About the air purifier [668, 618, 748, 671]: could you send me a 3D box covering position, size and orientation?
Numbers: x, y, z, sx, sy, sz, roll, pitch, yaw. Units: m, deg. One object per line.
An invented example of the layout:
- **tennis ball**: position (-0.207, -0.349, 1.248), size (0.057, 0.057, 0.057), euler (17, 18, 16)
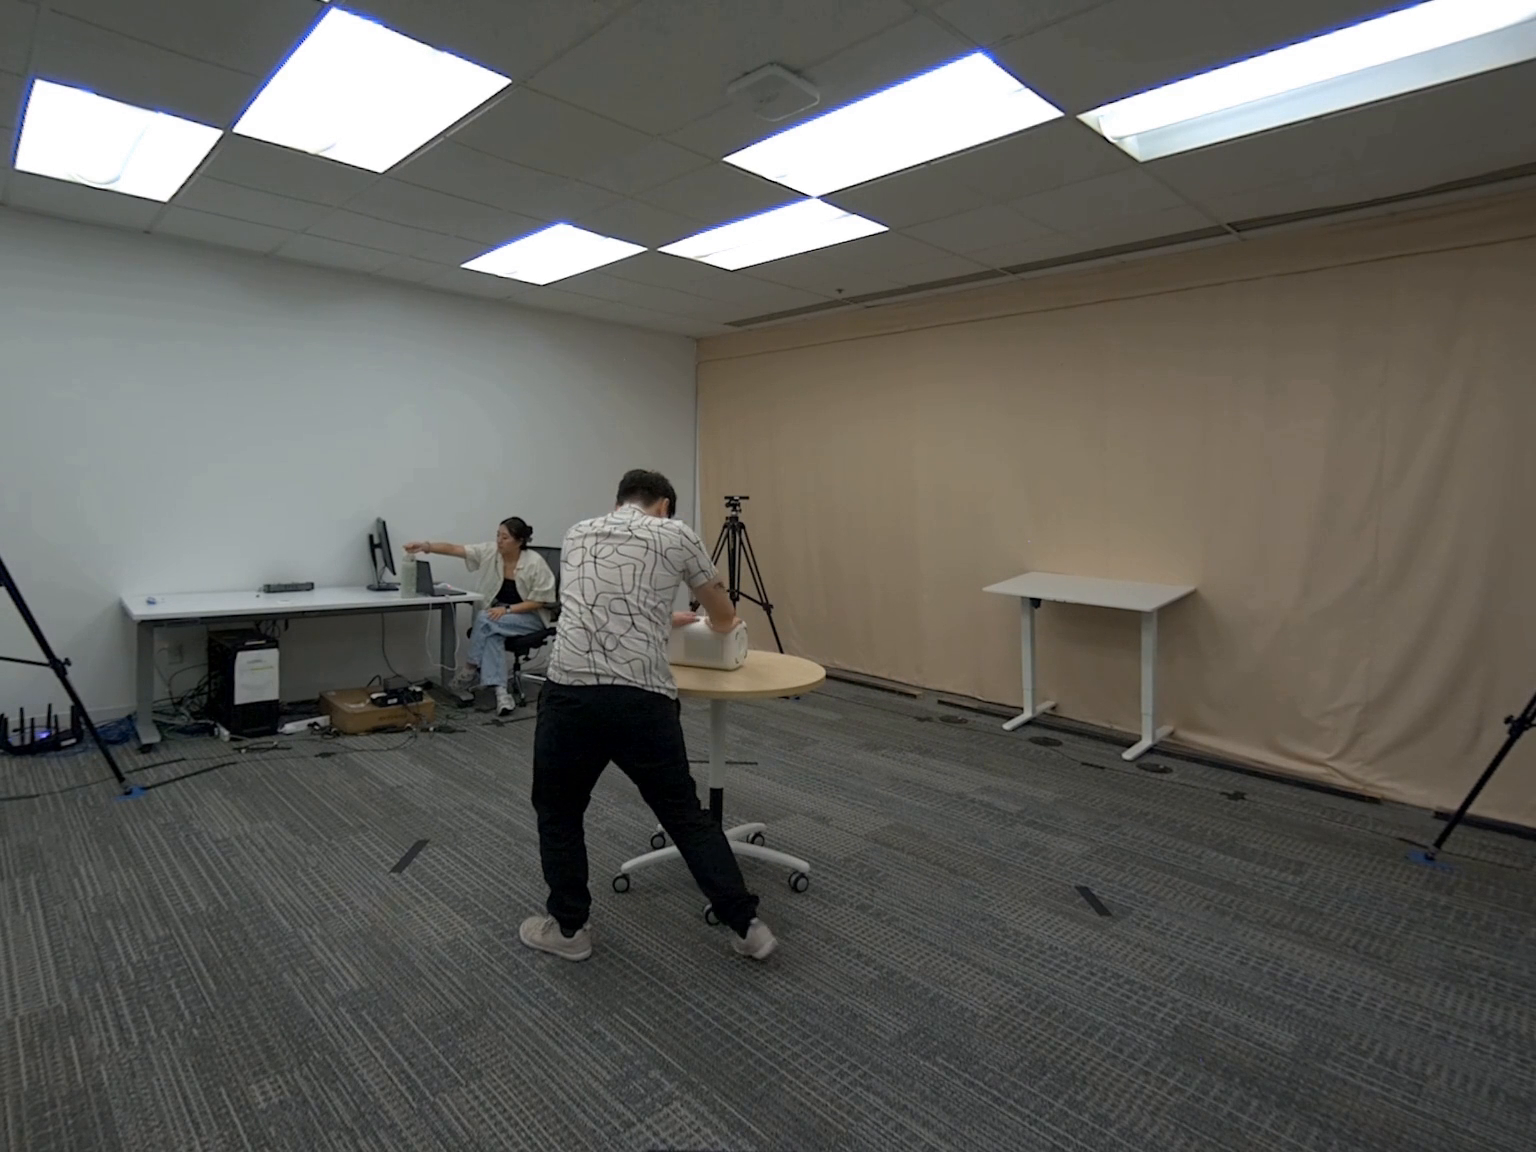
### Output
- **air purifier**: position (-0.224, 0.238, 3.068), size (0.270, 0.170, 0.169), euler (4, 10, 21)
